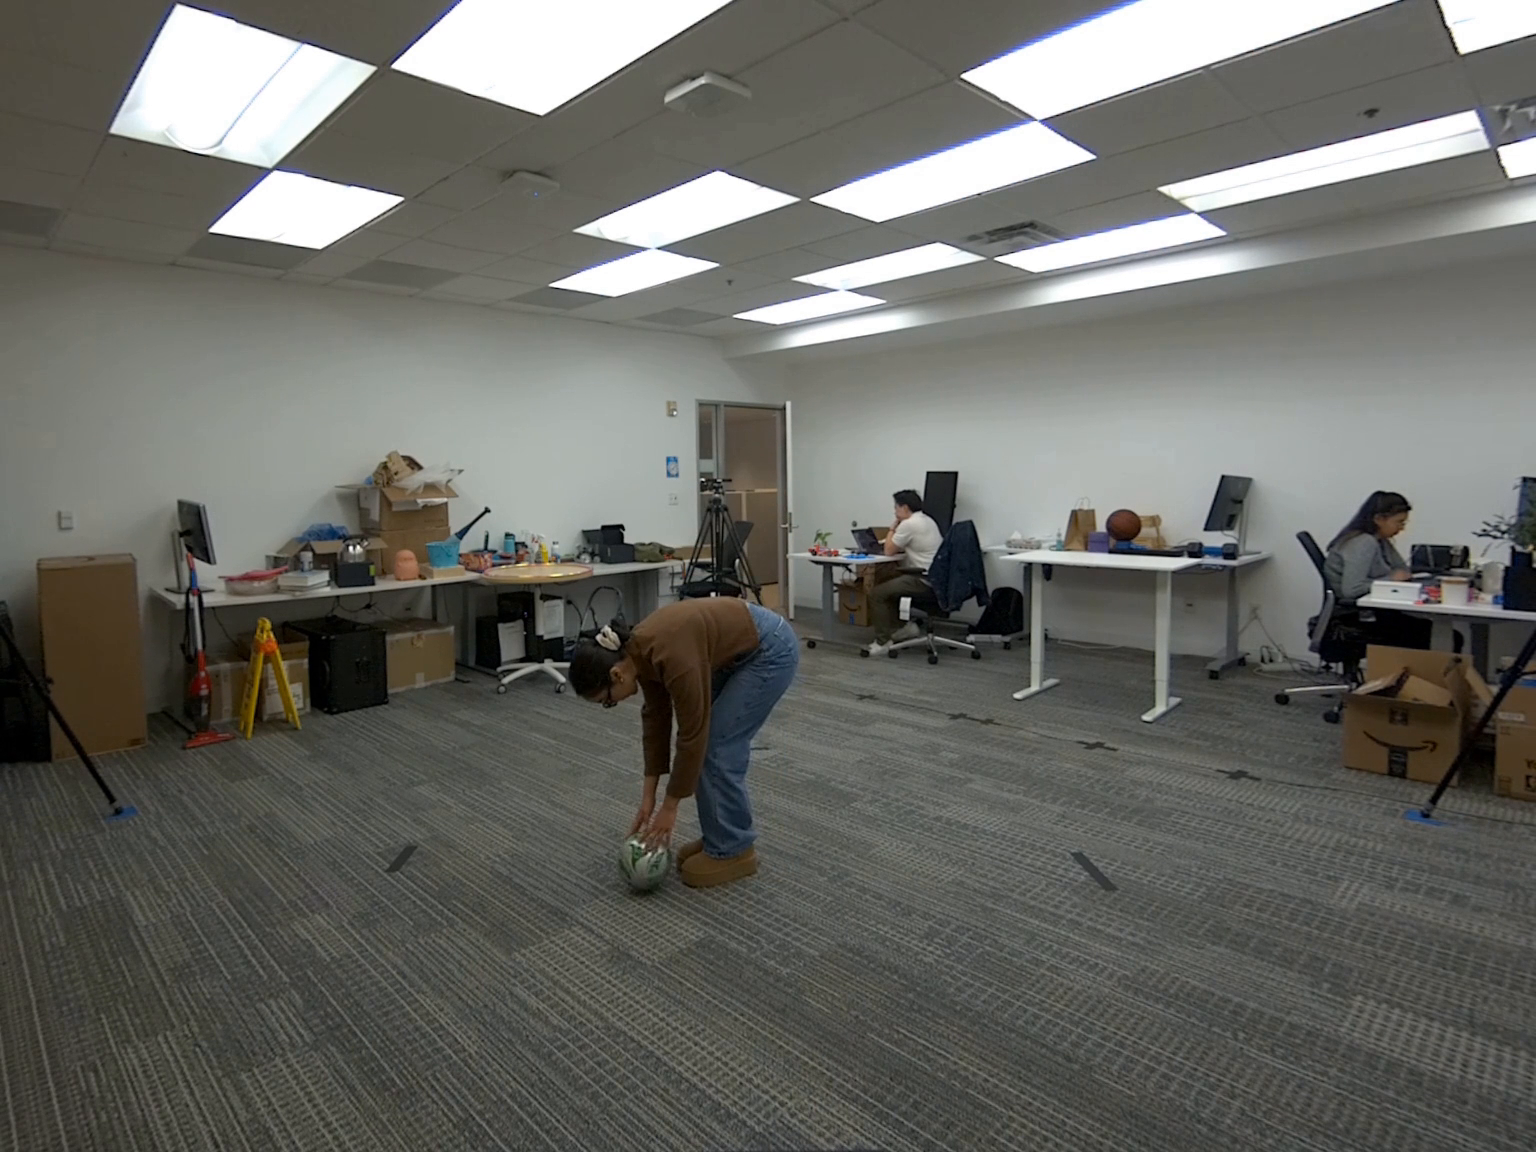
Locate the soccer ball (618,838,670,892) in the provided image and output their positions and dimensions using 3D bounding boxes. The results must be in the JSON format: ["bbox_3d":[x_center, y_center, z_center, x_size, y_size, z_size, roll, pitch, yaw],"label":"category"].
[{"bbox_3d":[-0.415,0.961,2.915,0.187,0.187,0.188,-1,5,-2],"label":"soccer ball"}]
